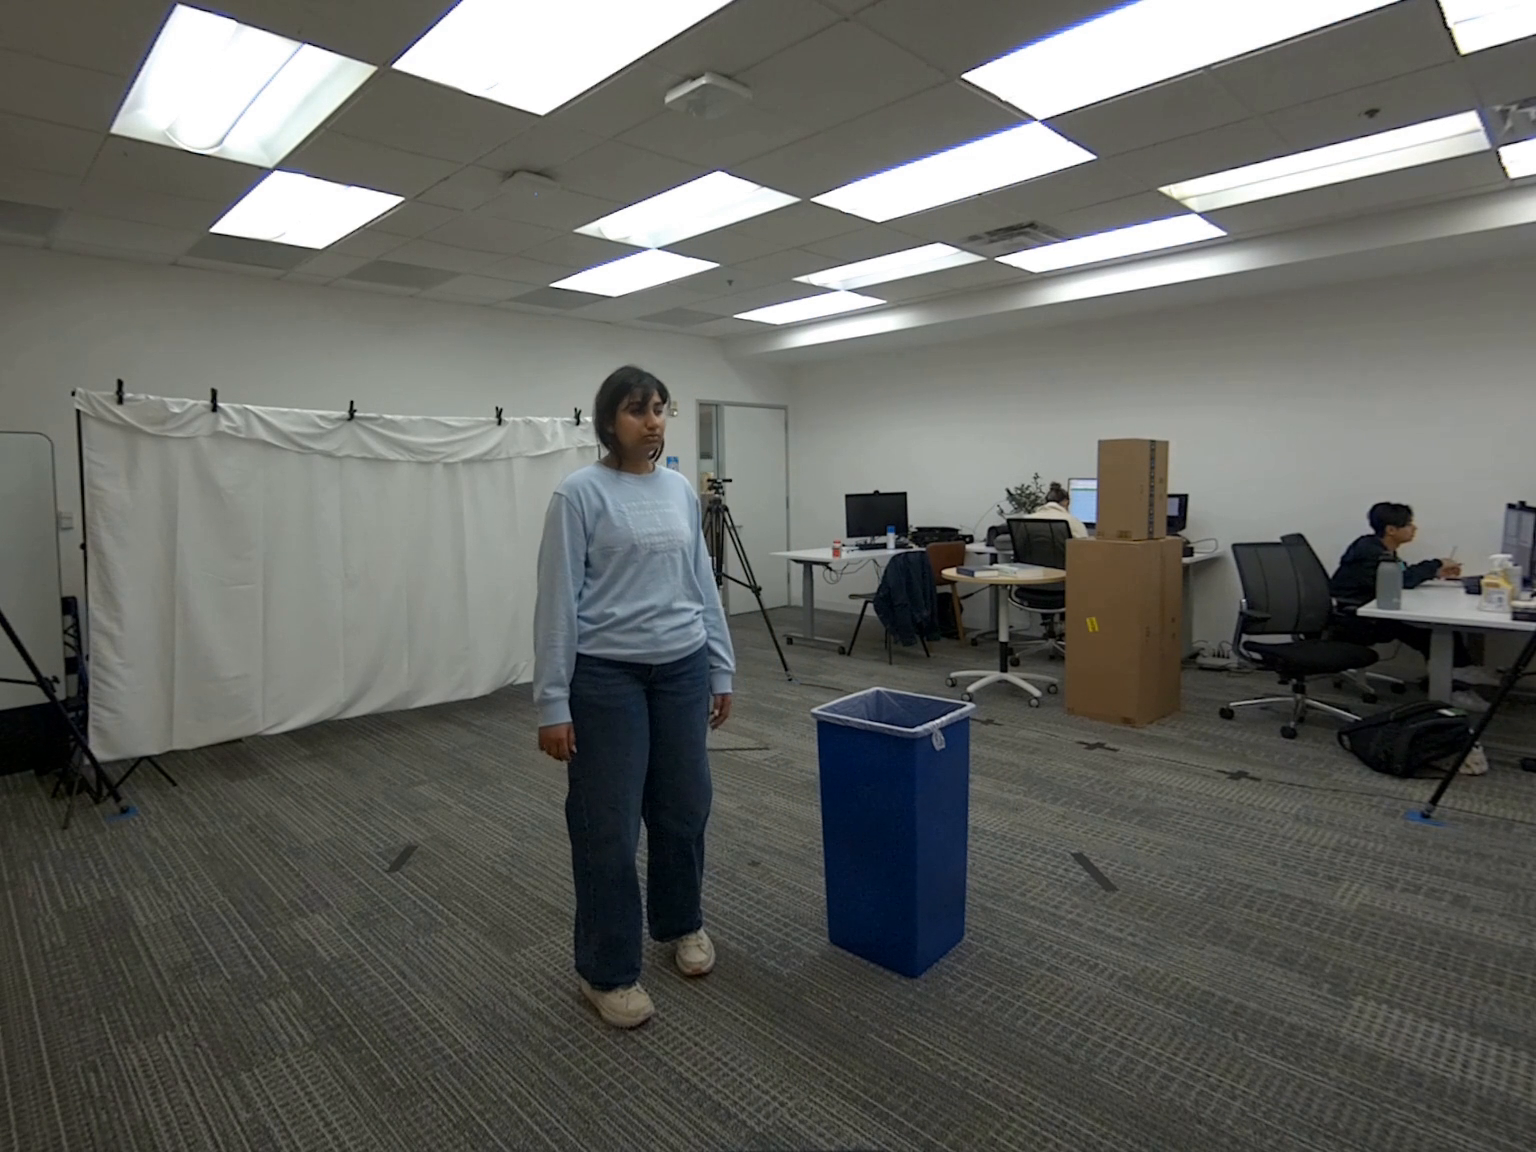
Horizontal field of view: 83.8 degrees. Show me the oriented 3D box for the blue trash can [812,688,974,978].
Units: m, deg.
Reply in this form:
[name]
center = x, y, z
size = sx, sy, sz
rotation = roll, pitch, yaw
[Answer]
[blue trash can]
center = 0.387, 0.744, 2.568
size = 0.389, 0.711, 0.364
rotation = 2, 5, 41
